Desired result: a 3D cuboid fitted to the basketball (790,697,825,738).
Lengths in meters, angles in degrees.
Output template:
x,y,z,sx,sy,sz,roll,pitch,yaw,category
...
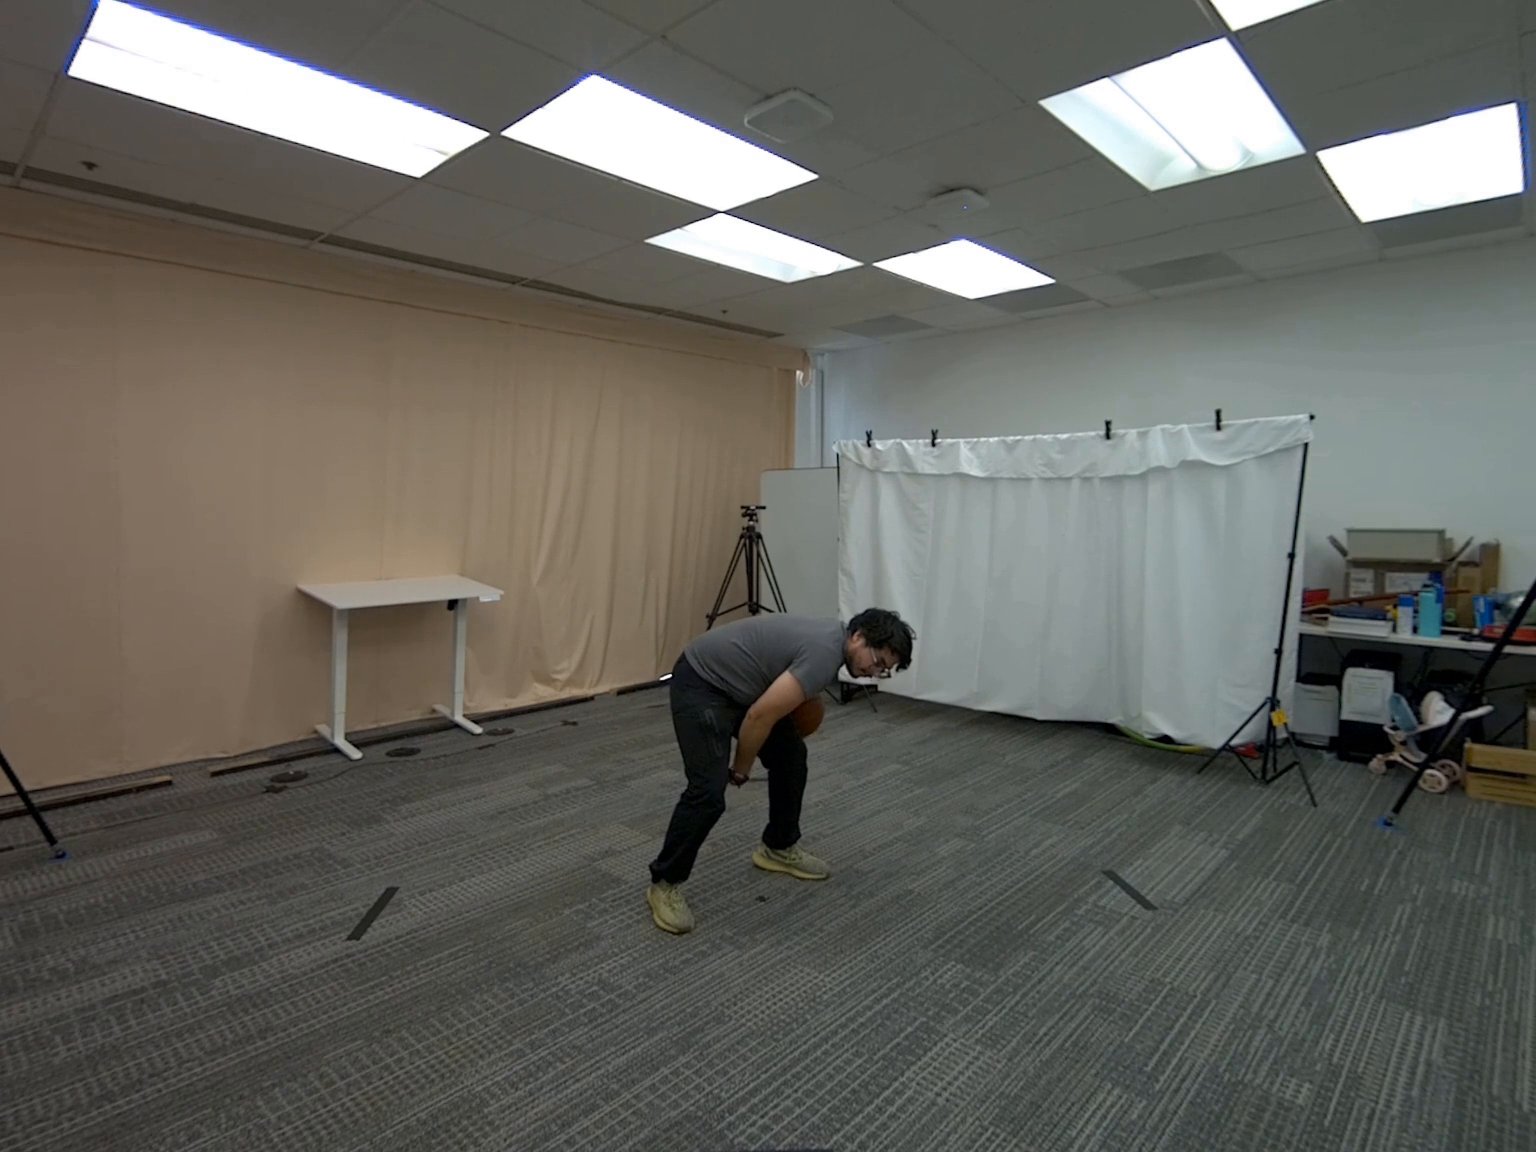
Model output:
x,y,z,sx,sy,sz,roll,pitch,yaw,category
0.100,0.515,3.289,0.236,0.235,0.237,0,4,-2,basketball
